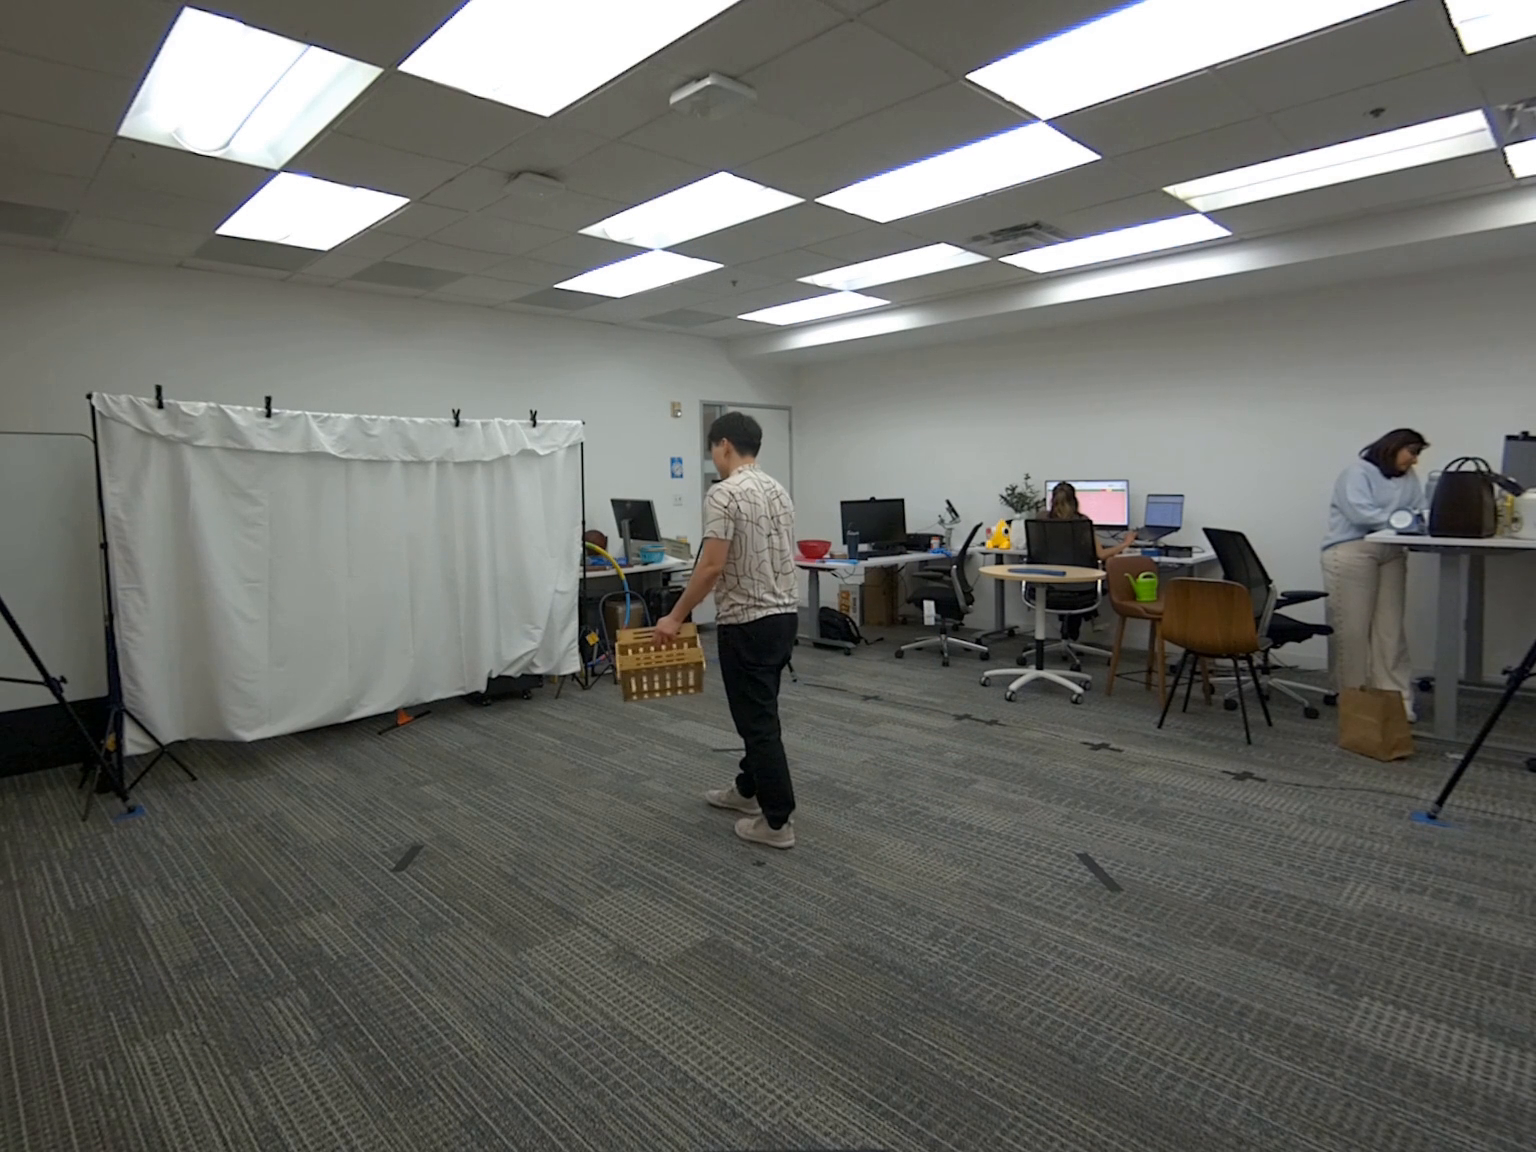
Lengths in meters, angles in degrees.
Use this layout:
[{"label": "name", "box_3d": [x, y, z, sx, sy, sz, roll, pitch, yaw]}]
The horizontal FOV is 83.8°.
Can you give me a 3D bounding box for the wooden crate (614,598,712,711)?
[{"label": "wooden crate", "box_3d": [-0.400, 0.290, 3.225, 0.322, 0.282, 0.295, -5, -38, -9]}]
